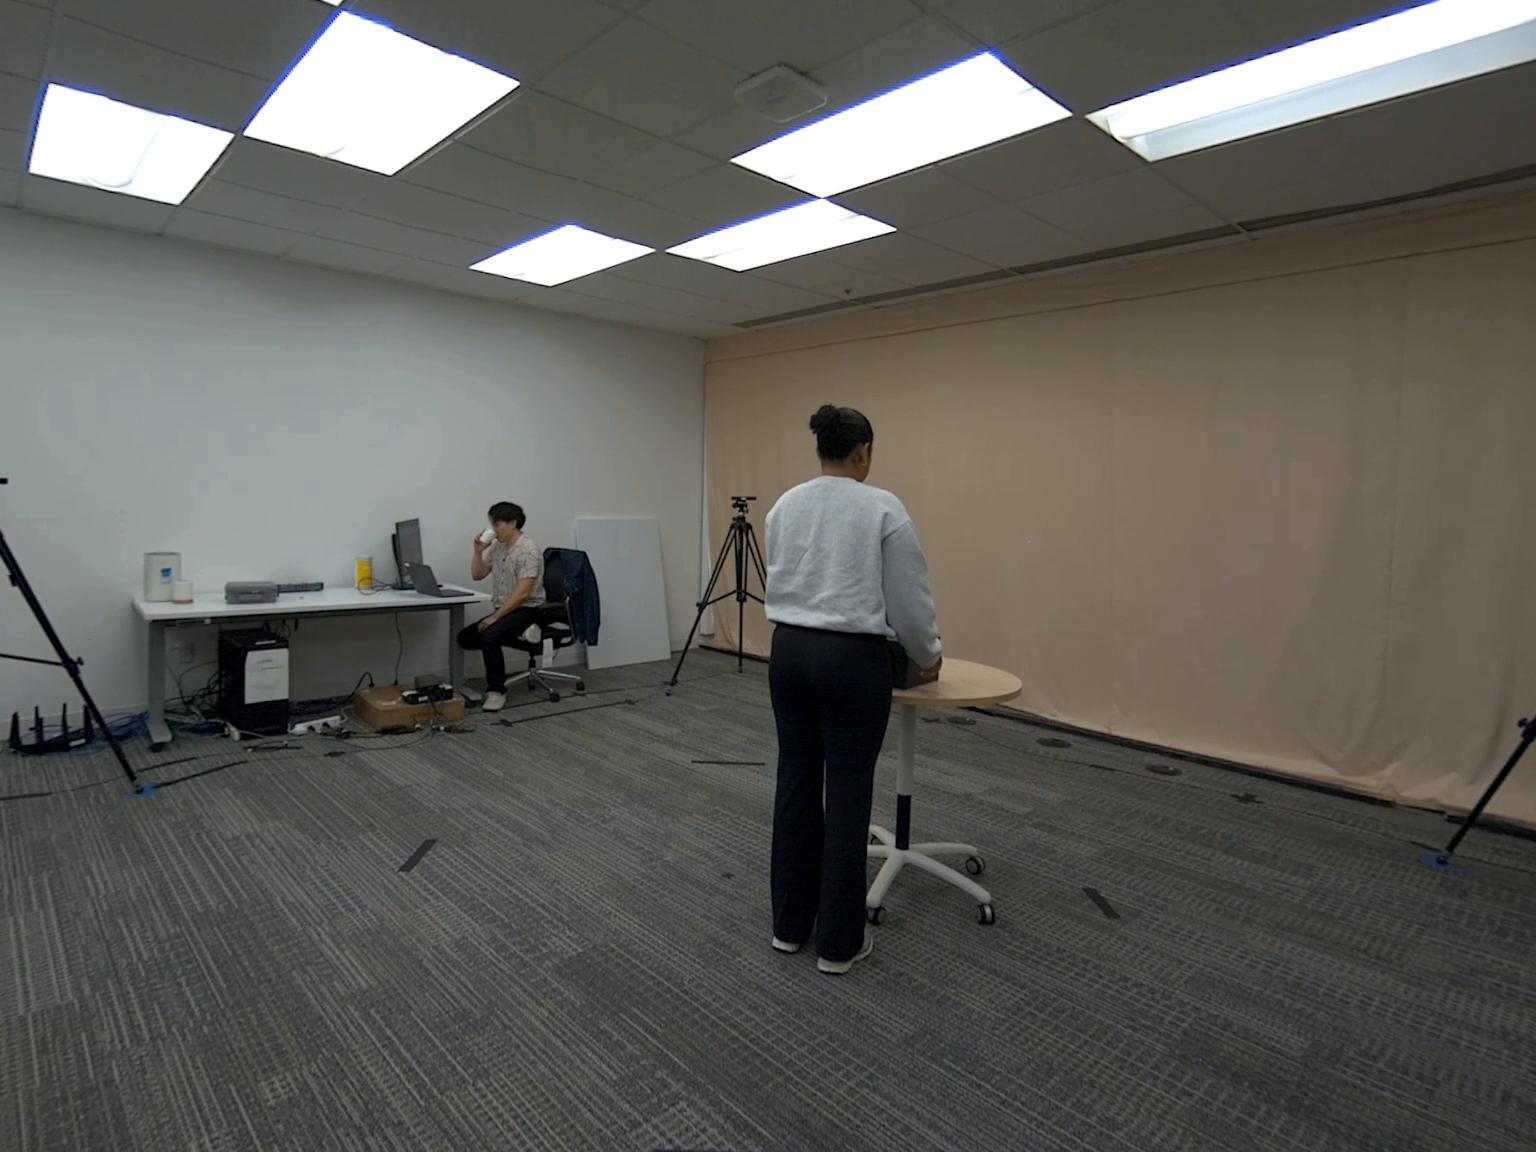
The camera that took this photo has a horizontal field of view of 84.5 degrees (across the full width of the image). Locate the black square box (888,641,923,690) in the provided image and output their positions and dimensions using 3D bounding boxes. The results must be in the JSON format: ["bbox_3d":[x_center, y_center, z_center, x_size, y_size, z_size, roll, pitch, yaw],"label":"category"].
[{"bbox_3d":[0.435,0.279,2.888,0.222,0.155,0.223,6,6,40],"label":"black square box"}]
